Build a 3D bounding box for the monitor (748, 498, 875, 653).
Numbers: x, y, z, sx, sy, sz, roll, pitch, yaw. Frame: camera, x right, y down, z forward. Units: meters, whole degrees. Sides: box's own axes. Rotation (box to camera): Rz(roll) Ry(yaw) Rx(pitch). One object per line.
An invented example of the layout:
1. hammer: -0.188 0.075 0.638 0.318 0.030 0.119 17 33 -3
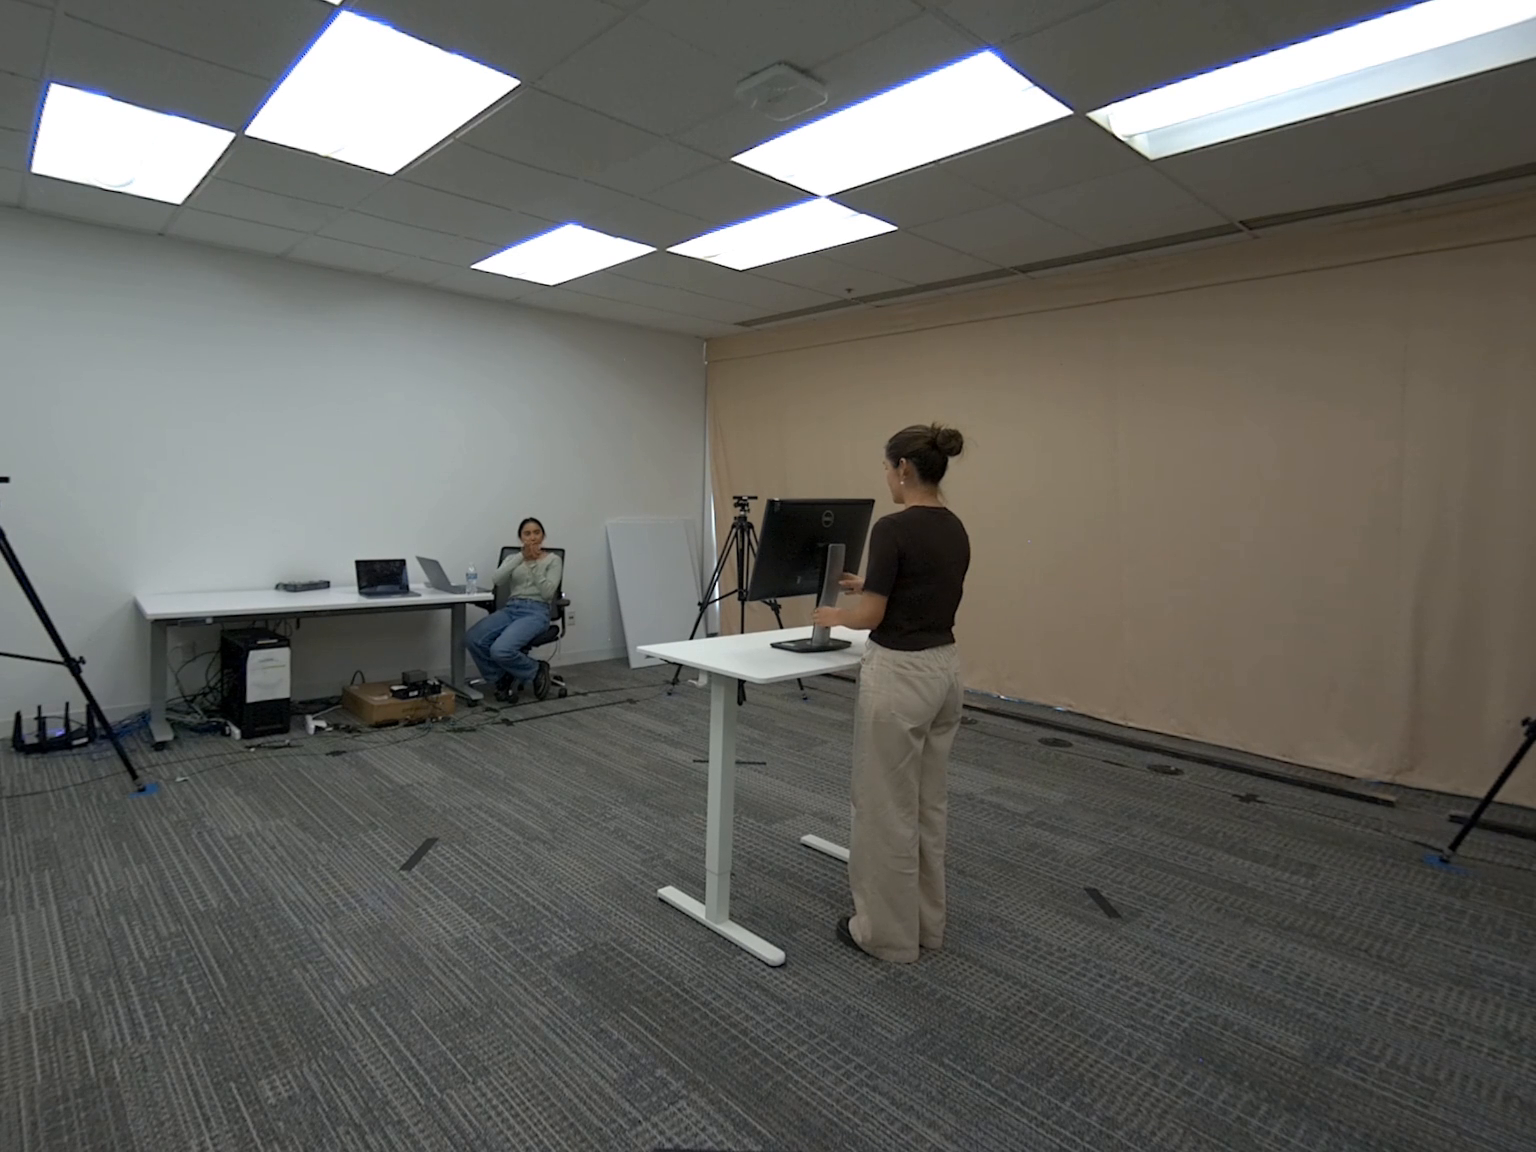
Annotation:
1. monitor: 0.167 -0.006 2.893 0.527 0.521 0.192 -3 7 -44
